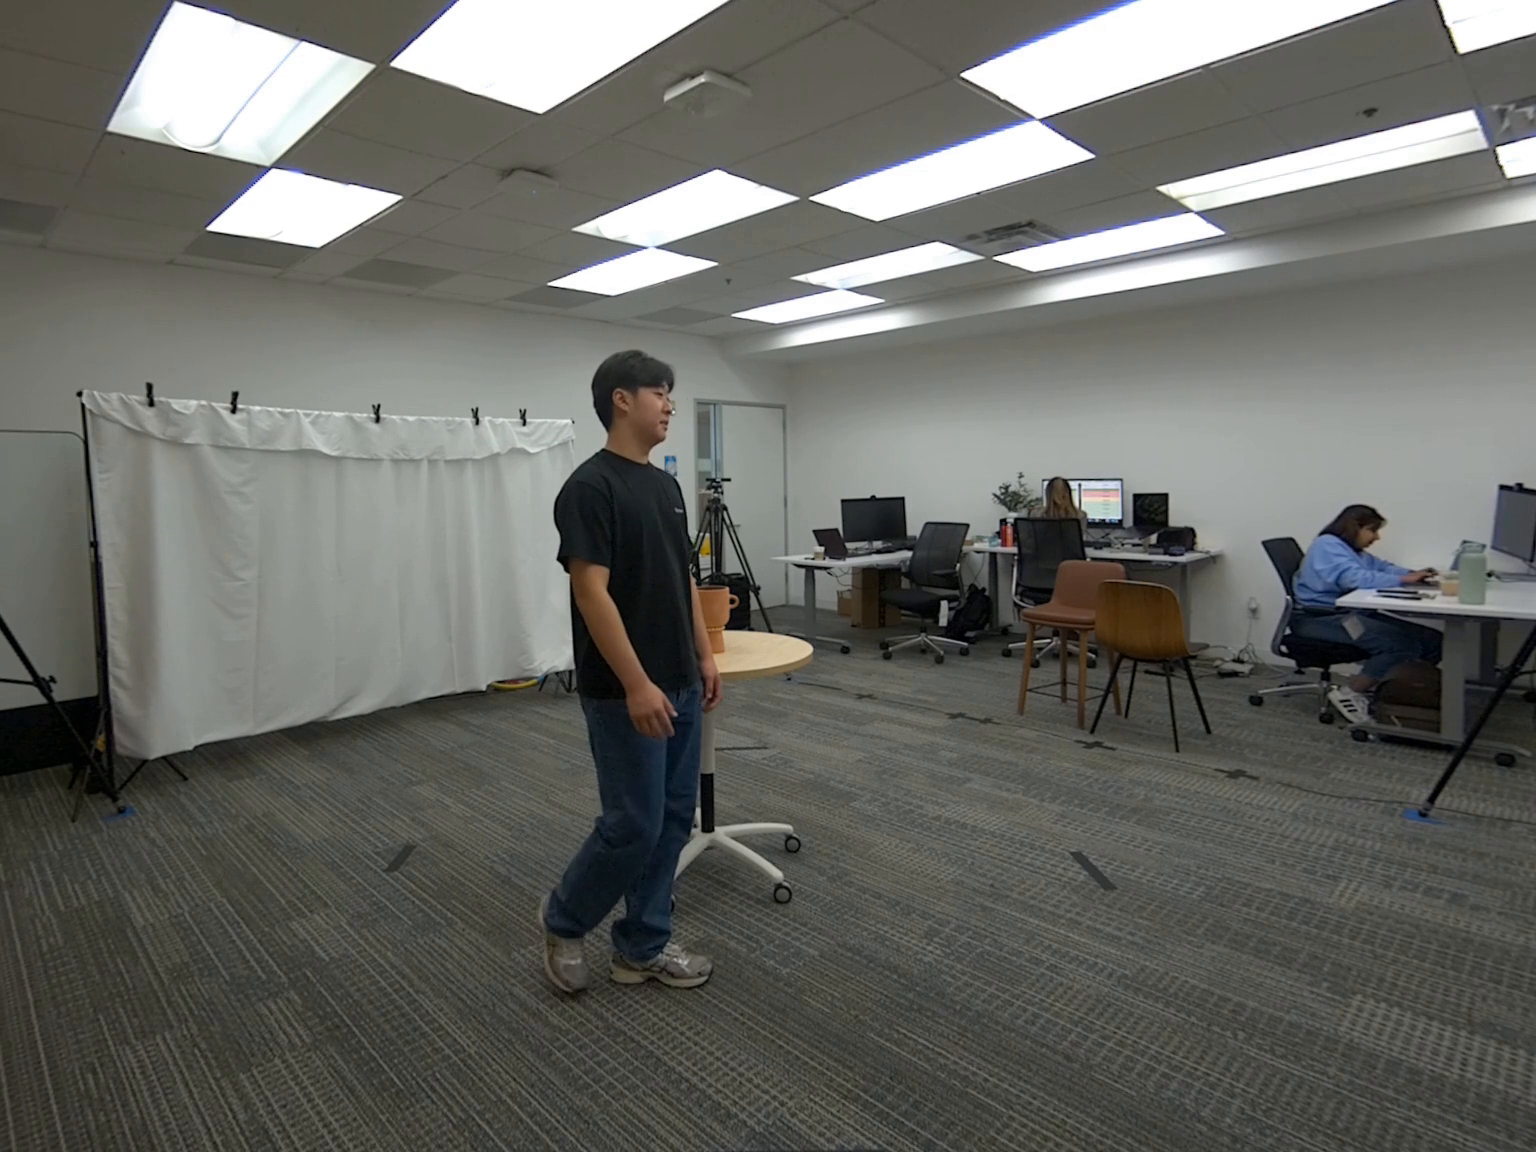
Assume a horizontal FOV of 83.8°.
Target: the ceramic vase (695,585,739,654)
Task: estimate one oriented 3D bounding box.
[{"bbox_3d":[-0.198,0.154,2.976,0.163,0.219,0.131,3,6,36],"label":"ceramic vase"}]
